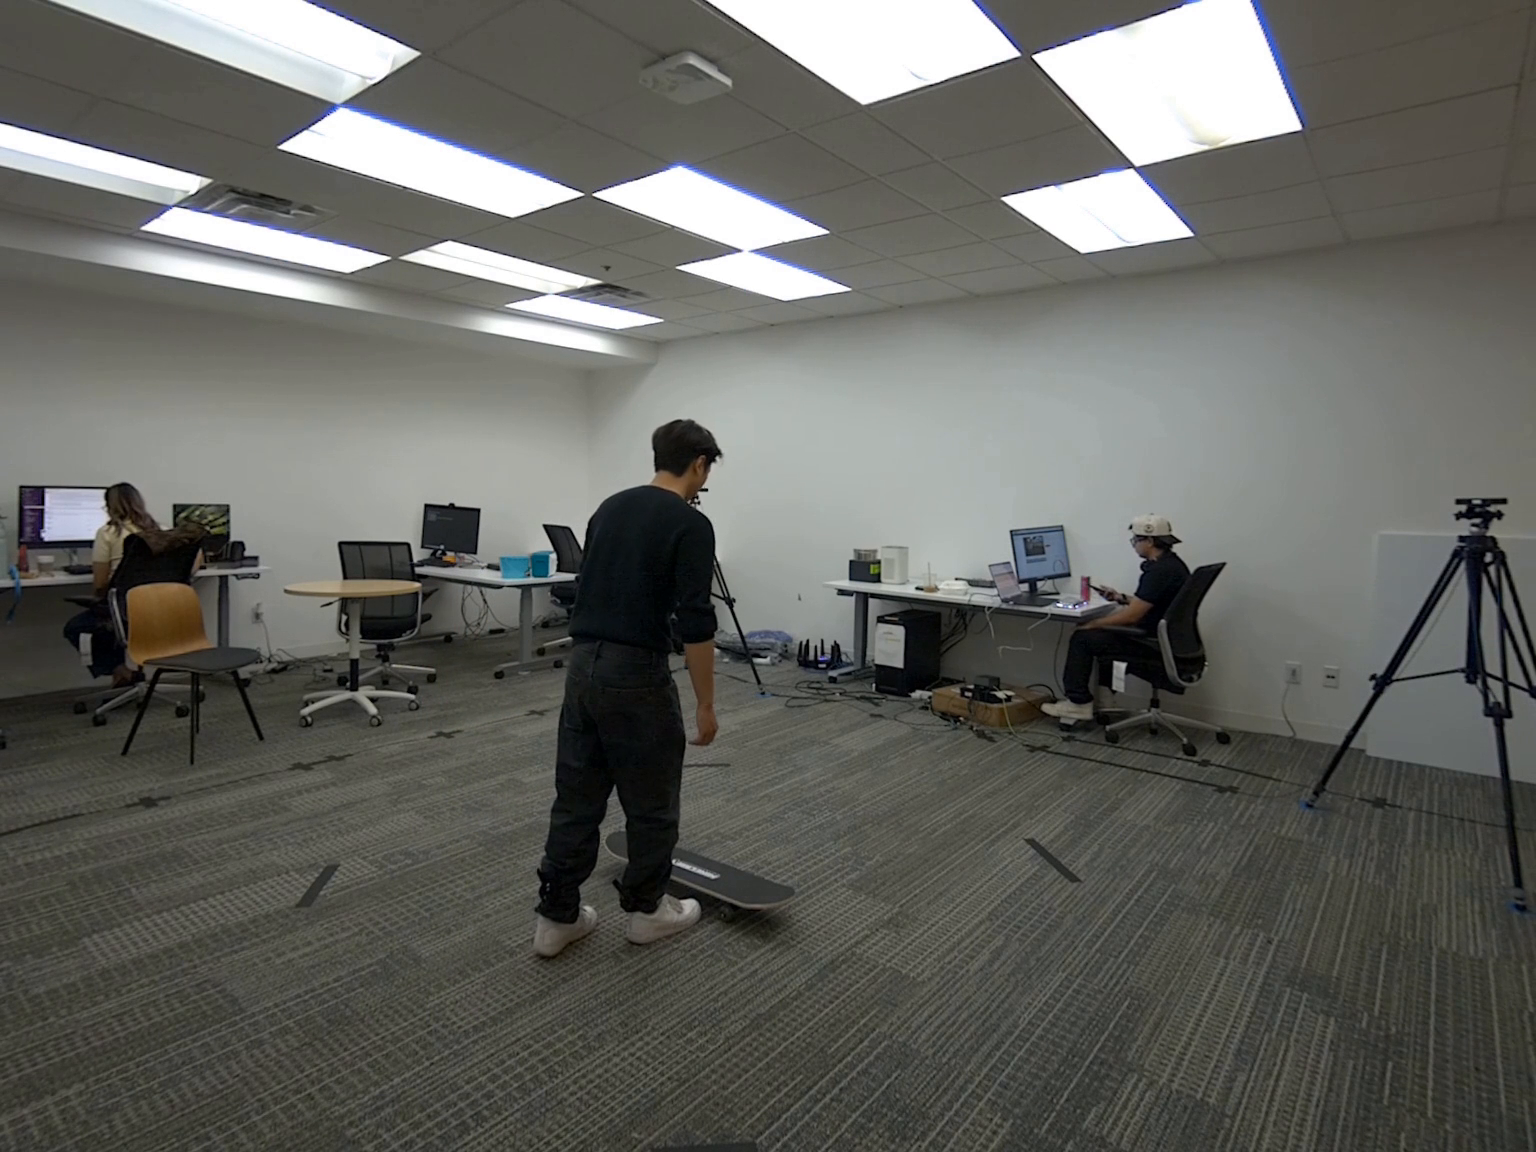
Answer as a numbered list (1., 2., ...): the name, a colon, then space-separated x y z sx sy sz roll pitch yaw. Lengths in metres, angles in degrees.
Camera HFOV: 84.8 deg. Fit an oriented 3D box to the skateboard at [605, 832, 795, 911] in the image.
1. skateboard: -0.269 1.027 2.912 0.811 0.110 0.188 5 6 35
